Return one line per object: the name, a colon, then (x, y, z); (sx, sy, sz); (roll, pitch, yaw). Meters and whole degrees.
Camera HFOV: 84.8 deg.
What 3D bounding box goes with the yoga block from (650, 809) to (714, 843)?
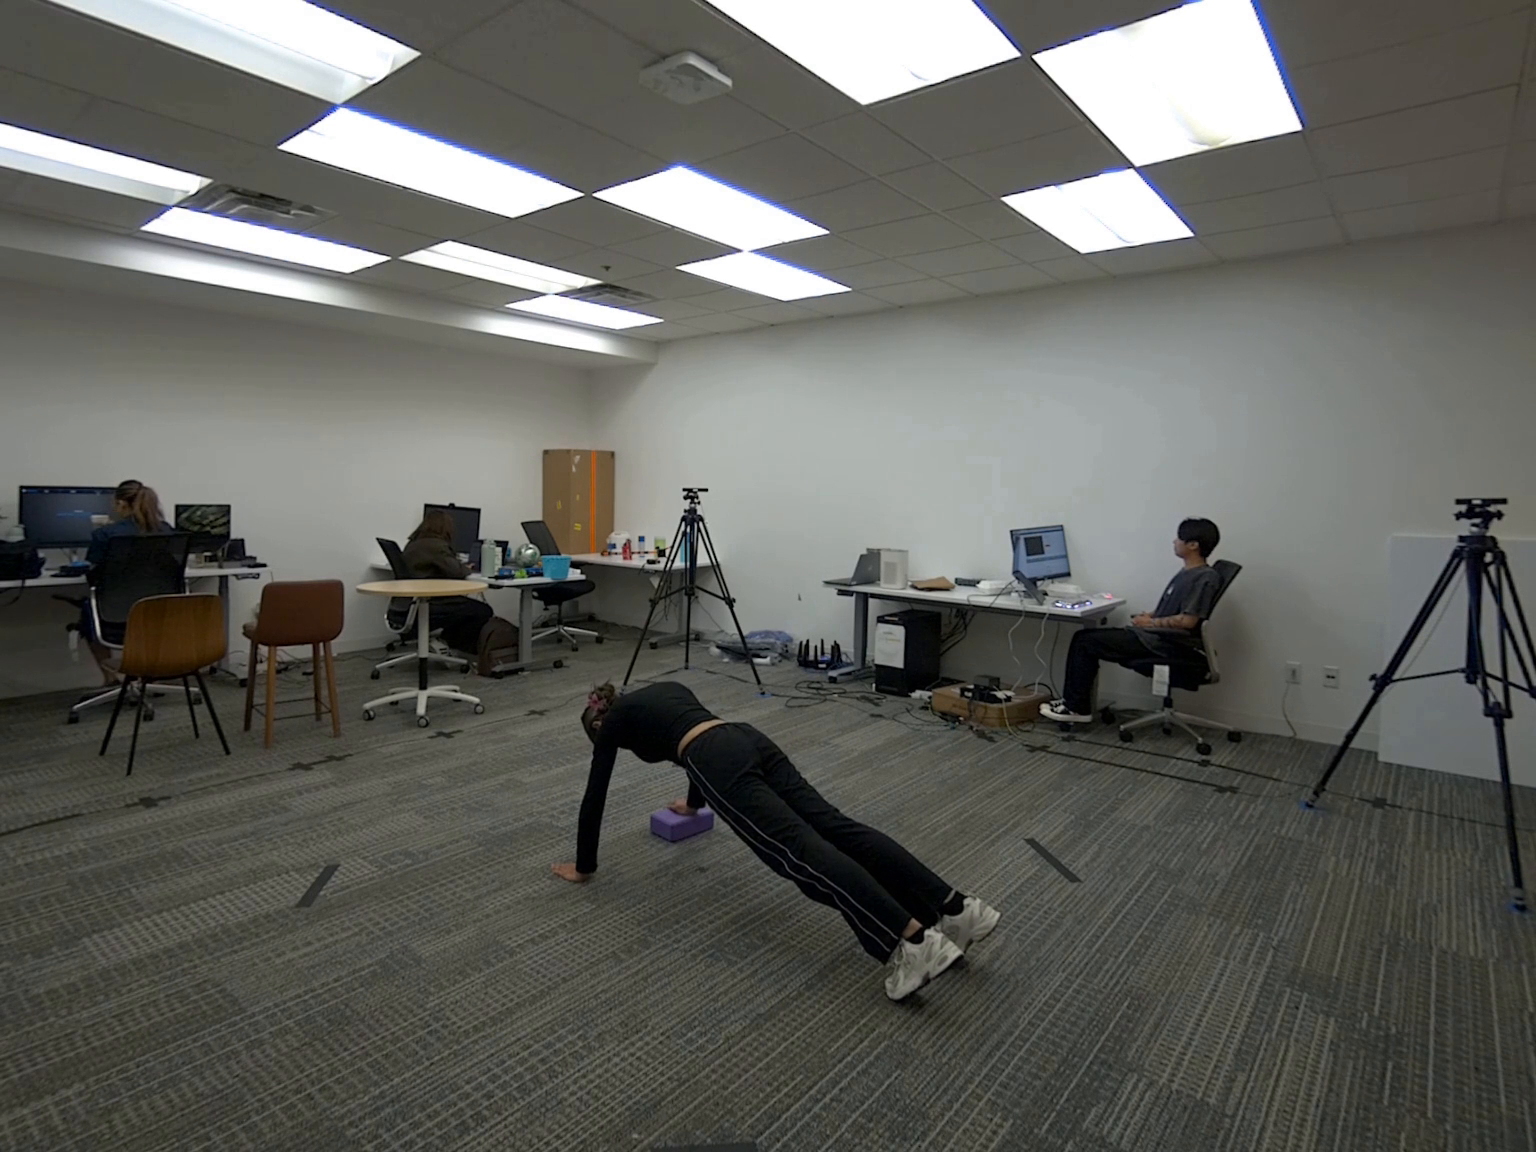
yoga block: (-0.360, 0.996, 3.459); (0.222, 0.076, 0.154); (-2, 5, -43)
